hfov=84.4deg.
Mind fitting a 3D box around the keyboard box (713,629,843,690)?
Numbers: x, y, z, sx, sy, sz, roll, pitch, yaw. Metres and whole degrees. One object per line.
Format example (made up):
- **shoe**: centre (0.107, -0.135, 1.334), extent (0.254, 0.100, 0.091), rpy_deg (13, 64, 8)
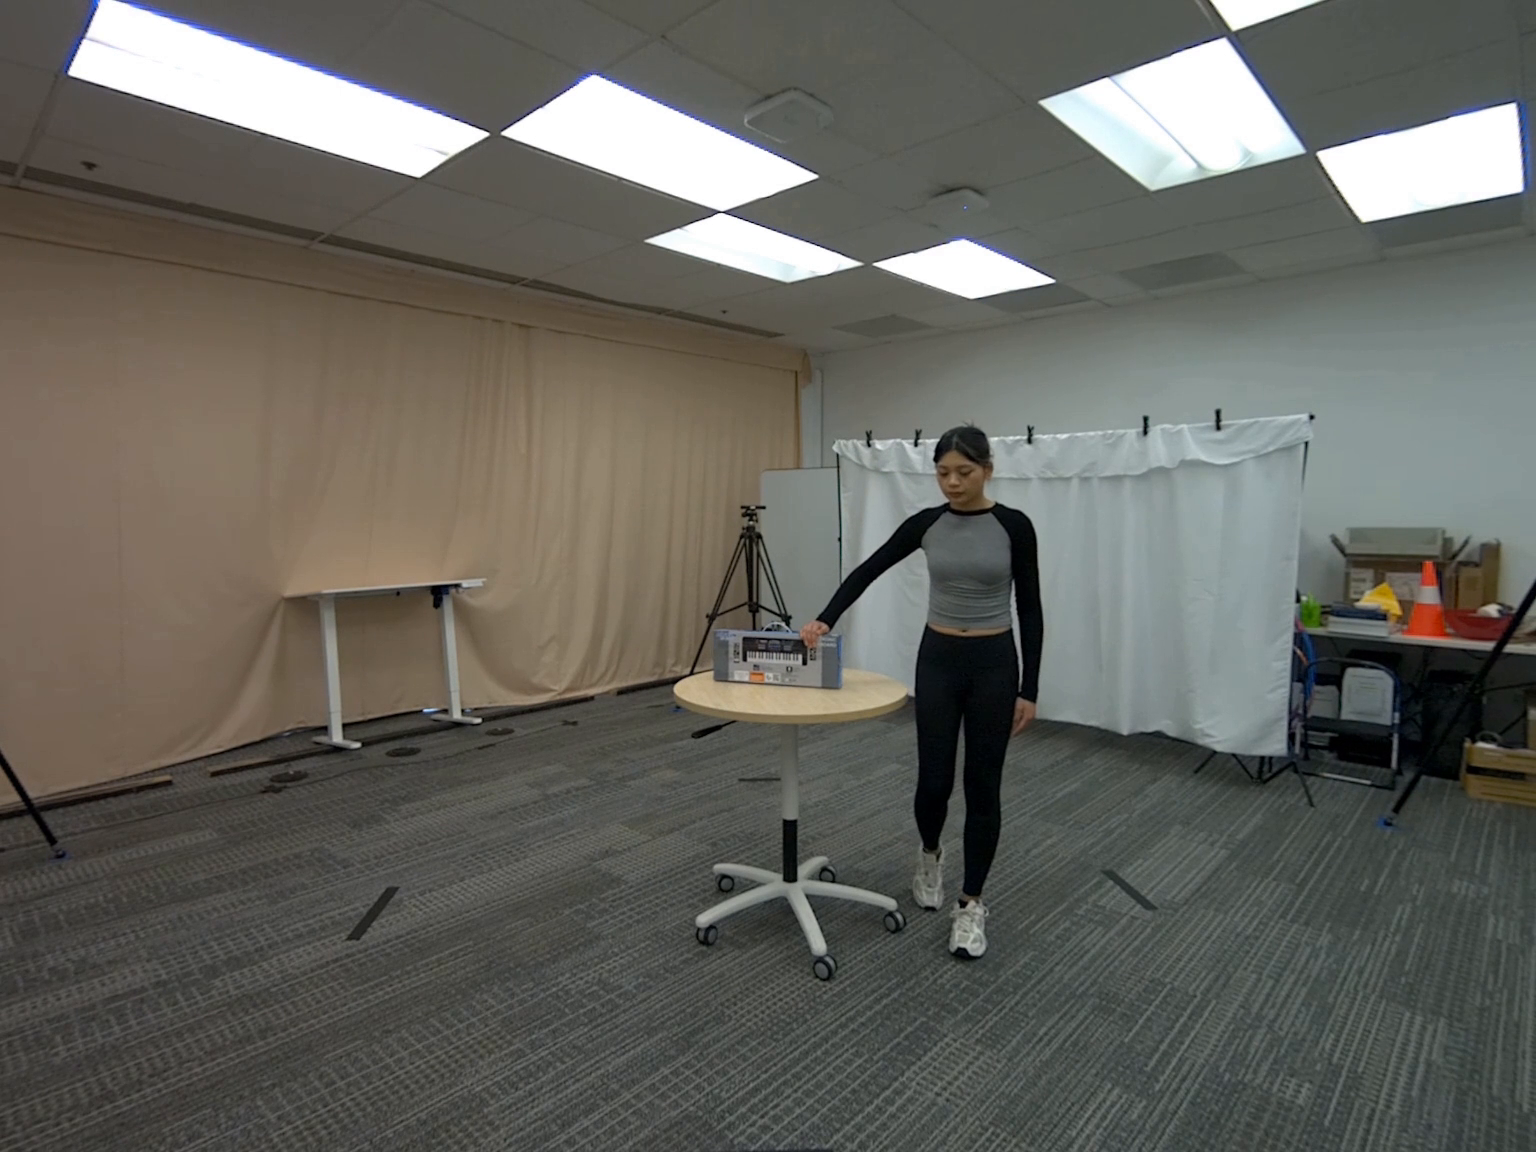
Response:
- **keyboard box**: centre (0.034, 0.278, 2.829), extent (0.446, 0.176, 0.058), rpy_deg (1, 0, 21)
